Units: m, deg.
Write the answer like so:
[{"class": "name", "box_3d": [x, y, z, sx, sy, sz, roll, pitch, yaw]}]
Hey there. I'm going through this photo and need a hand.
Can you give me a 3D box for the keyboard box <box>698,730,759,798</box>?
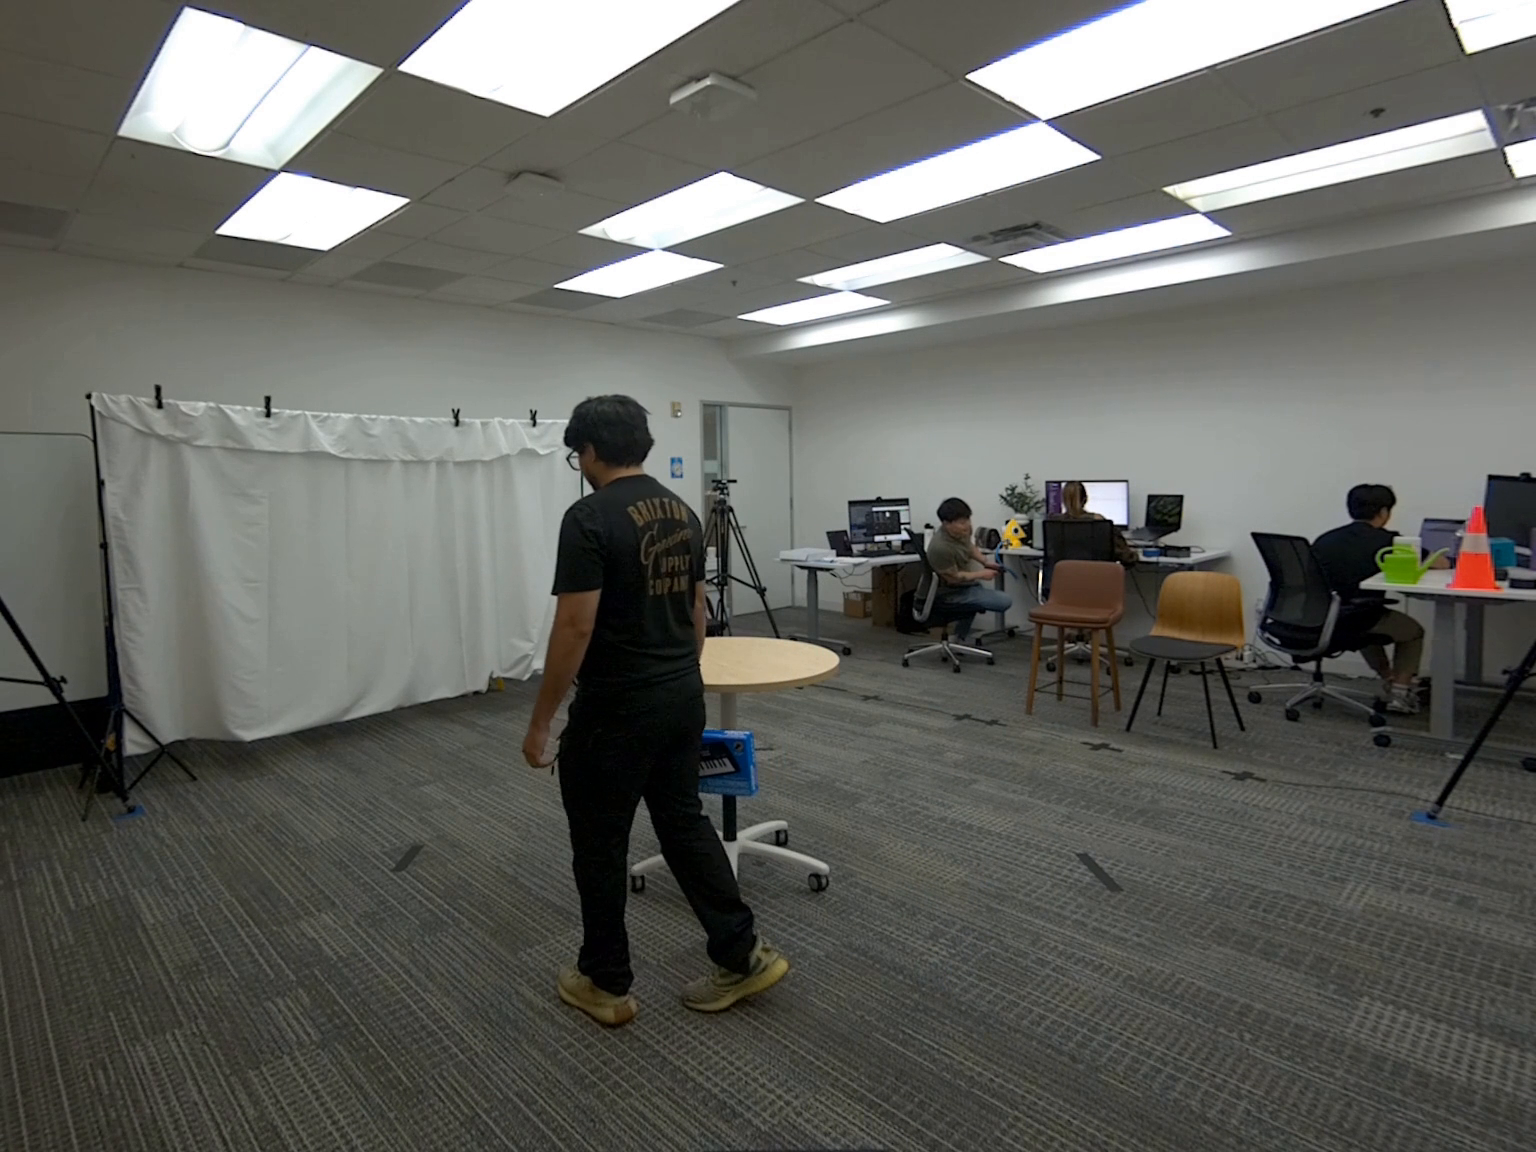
[{"class": "keyboard box", "box_3d": [-0.248, 0.544, 2.529, 0.446, 0.175, 0.058, -4, 3, 24]}]
